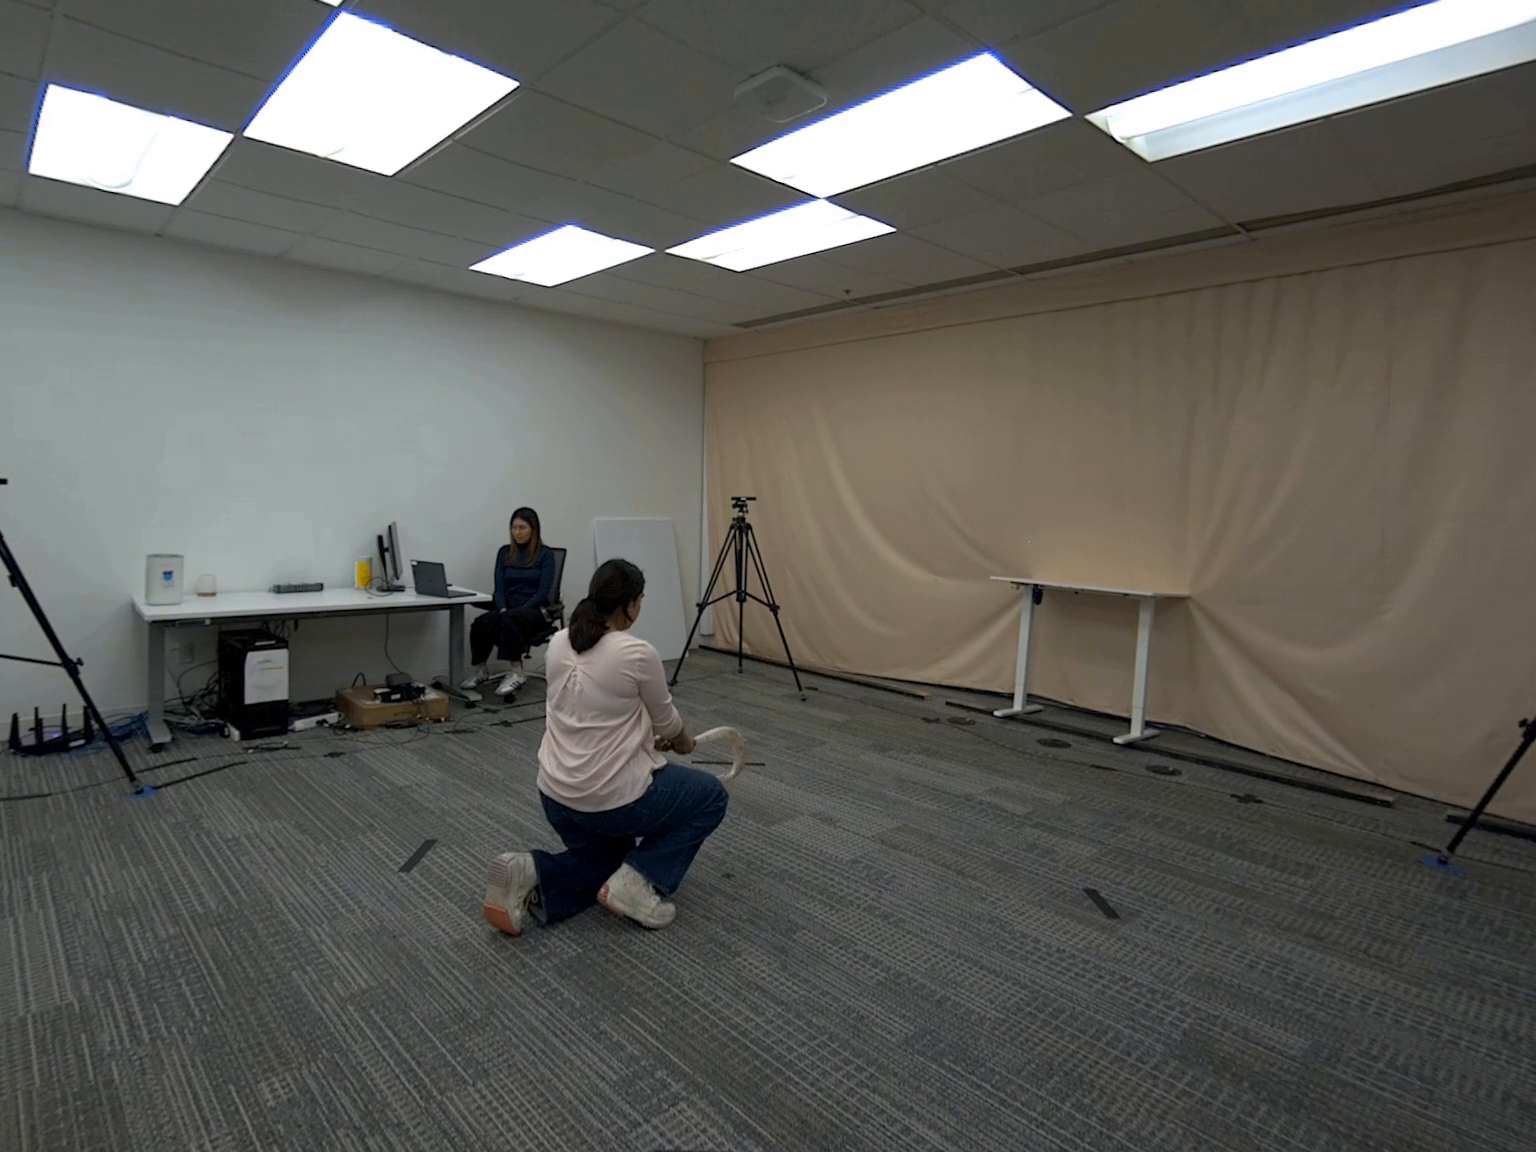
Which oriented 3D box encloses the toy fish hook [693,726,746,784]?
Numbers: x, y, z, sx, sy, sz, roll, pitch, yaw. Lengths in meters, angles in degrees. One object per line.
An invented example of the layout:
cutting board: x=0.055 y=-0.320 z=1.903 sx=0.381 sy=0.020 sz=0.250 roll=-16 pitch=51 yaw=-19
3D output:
toy fish hook: x=-0.251 y=0.683 z=3.289 sx=0.049 sy=0.227 sz=0.492 roll=-15 pitch=-19 yaw=39
